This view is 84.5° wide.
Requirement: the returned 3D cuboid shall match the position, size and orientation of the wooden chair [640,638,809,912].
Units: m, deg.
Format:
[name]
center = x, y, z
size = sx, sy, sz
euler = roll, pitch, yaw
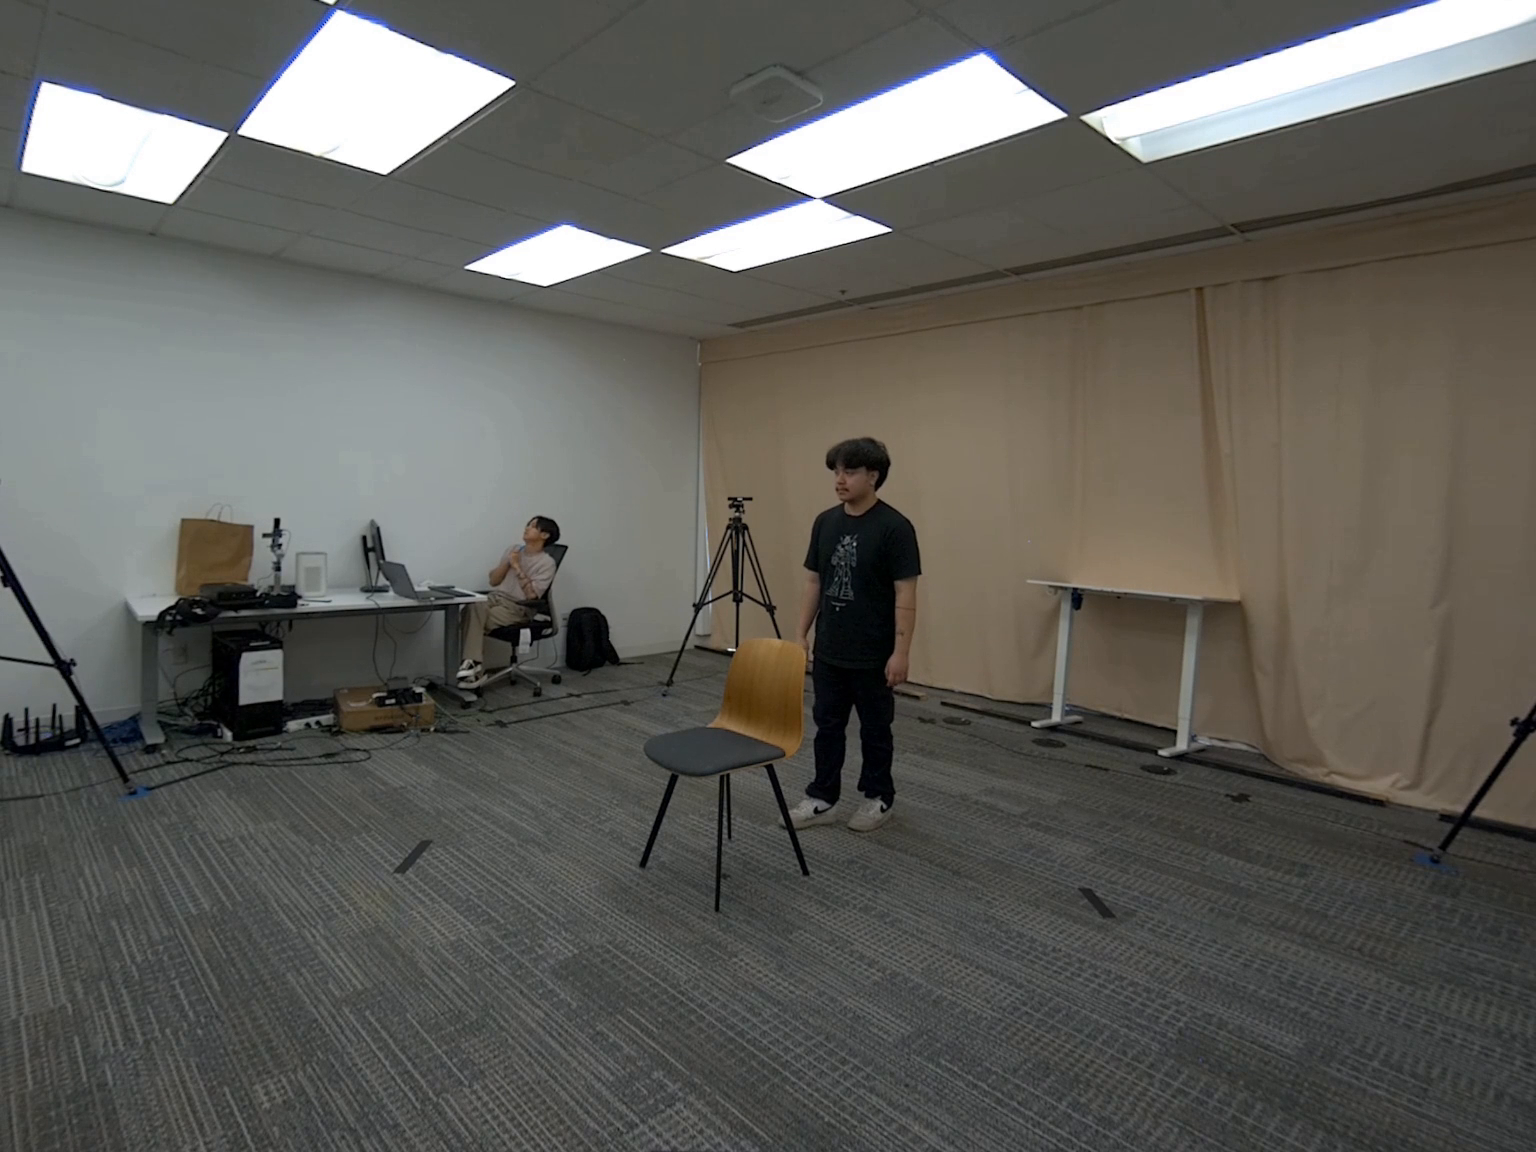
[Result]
[wooden chair]
center = -0.165, 0.683, 3.106
size = 0.510, 0.877, 0.490
euler = 4, 1, -43
